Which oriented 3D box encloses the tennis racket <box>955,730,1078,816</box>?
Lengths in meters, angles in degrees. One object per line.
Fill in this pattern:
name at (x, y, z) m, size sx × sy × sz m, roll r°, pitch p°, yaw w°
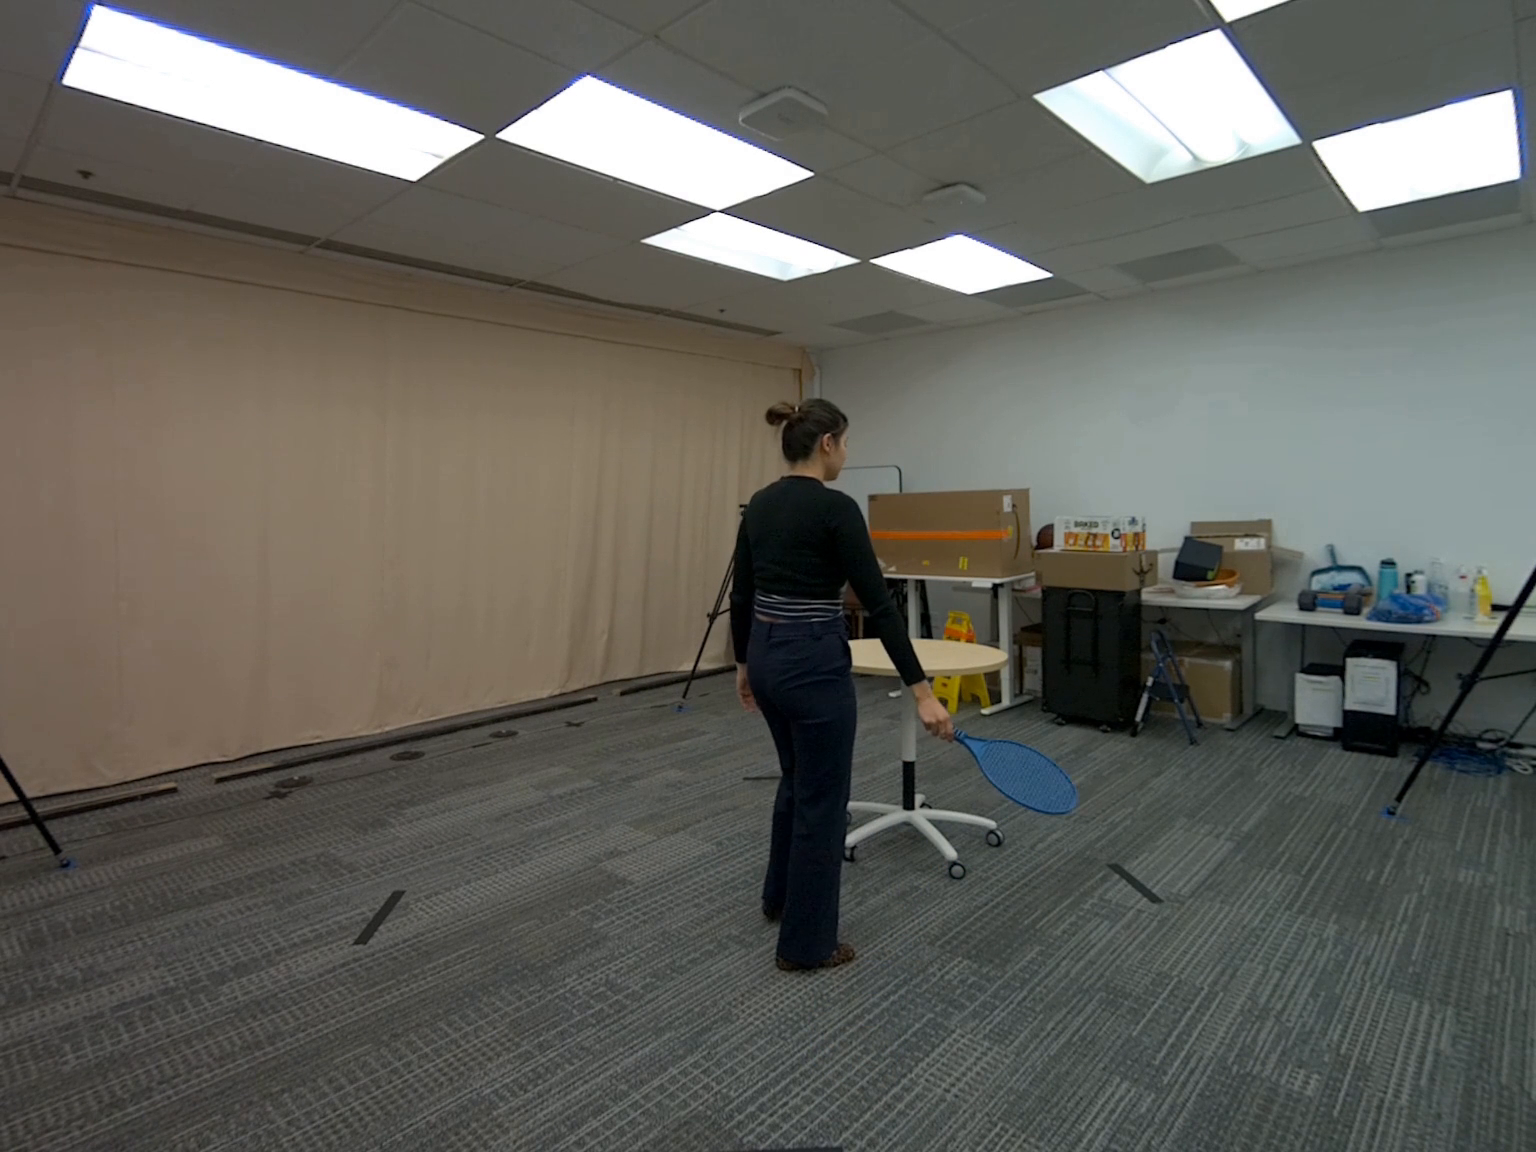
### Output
tennis racket at (0.622, 0.486, 2.237) m, size 0.443 × 0.031 × 0.211 m, roll 24°, pitch 37°, yaw 18°
